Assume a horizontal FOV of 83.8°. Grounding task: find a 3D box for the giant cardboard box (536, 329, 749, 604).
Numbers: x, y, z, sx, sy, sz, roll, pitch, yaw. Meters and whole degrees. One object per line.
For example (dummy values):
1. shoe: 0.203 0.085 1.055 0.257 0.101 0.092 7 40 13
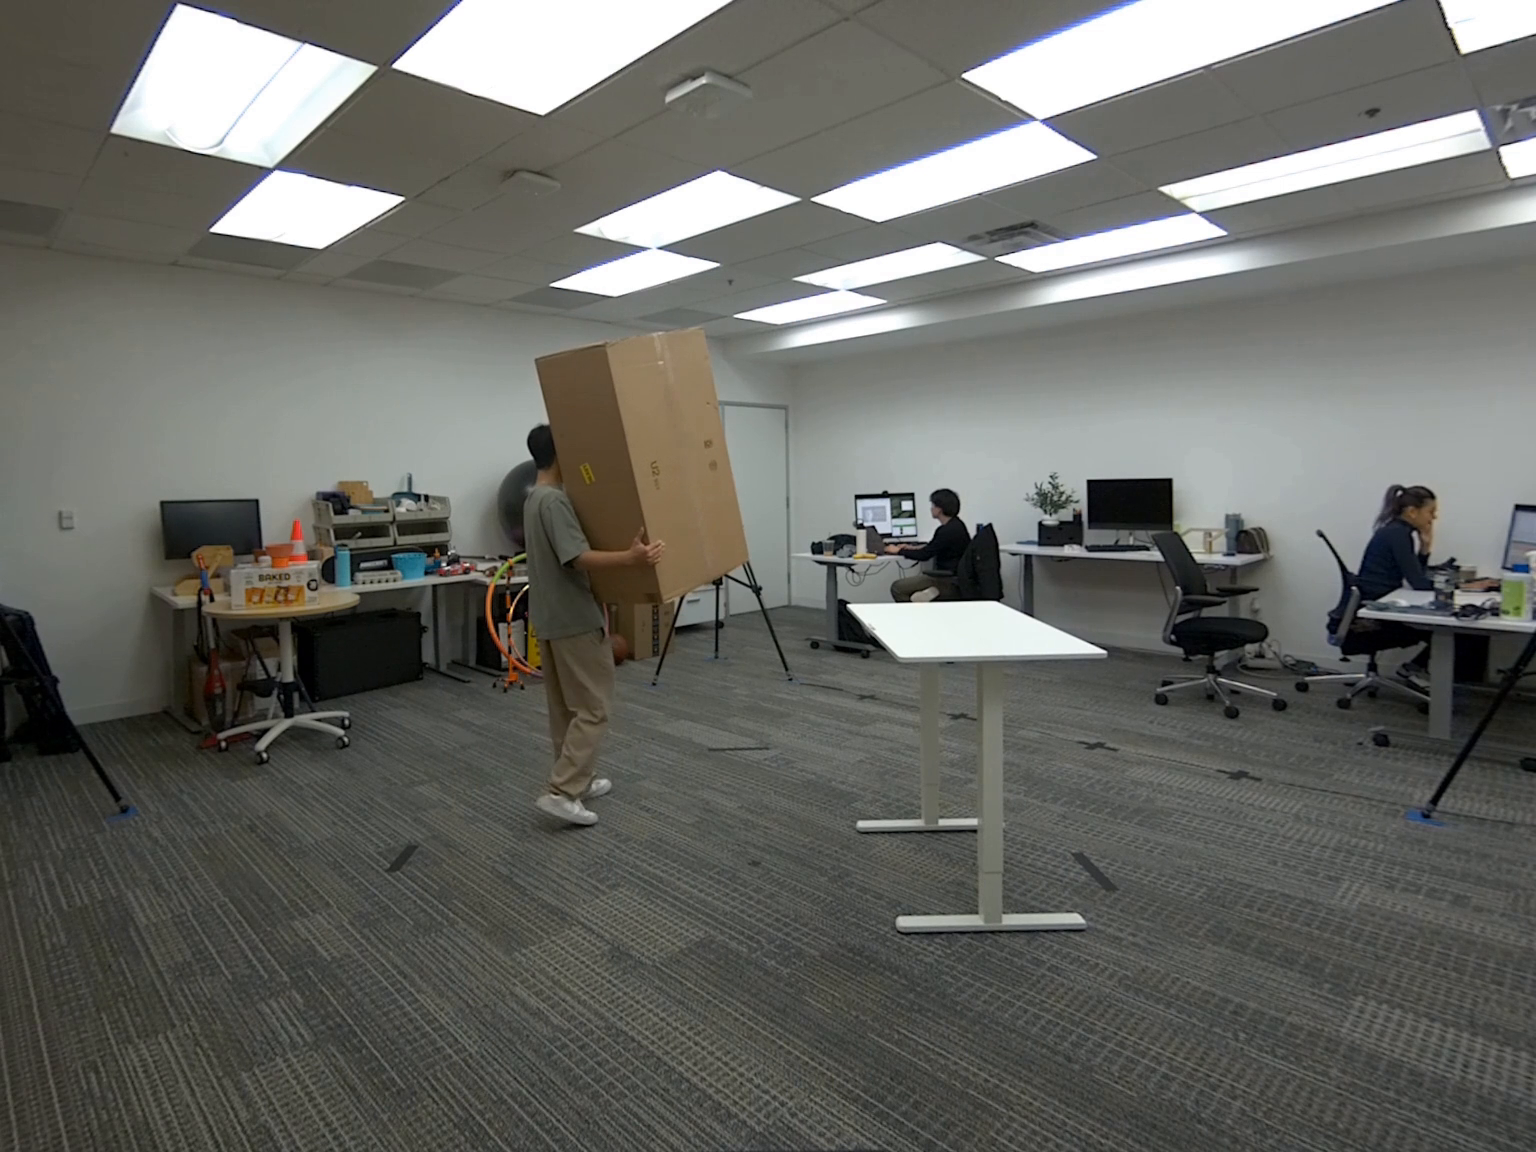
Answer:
1. giant cardboard box: -0.502 -0.457 3.554 0.438 1.013 0.569 -1 16 39
